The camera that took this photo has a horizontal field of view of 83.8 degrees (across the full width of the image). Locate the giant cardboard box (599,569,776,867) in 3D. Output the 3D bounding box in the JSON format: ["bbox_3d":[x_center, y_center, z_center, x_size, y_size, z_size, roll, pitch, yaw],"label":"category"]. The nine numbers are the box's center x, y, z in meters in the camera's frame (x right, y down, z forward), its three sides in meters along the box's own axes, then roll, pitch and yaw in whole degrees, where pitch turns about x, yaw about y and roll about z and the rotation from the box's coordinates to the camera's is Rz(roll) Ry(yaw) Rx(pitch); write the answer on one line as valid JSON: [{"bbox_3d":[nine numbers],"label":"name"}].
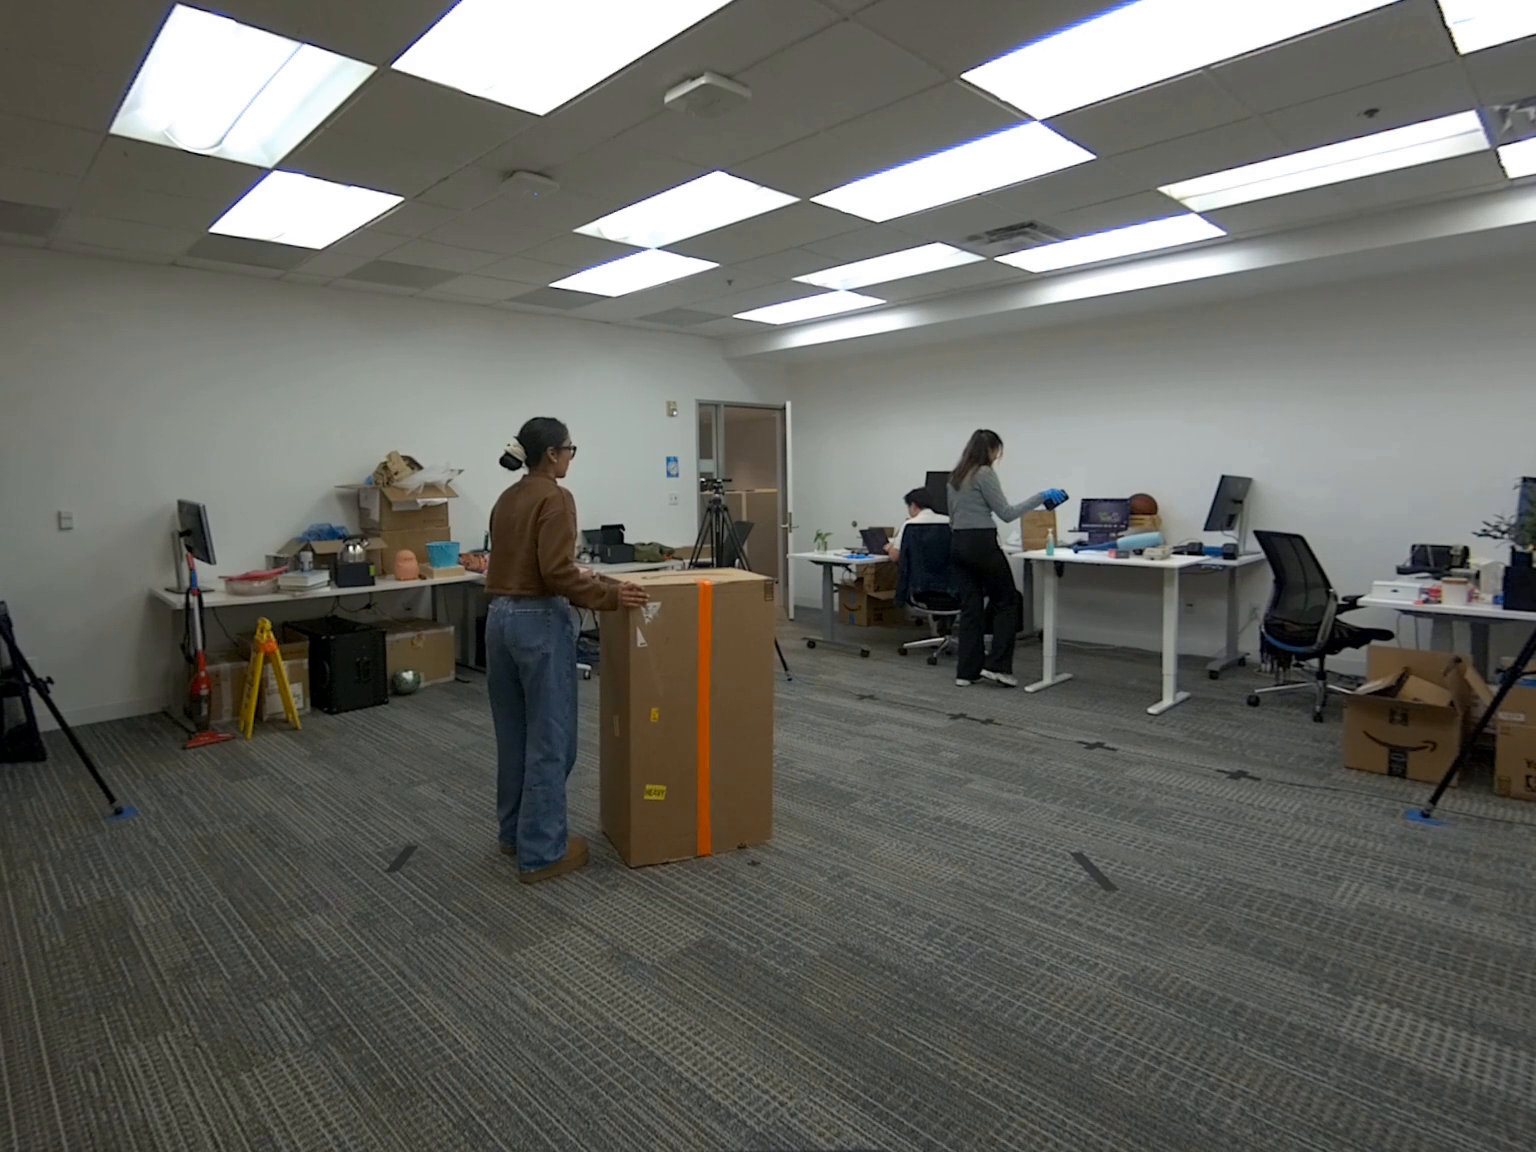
[{"bbox_3d":[-0.321,0.510,3.340,0.565,1.022,0.437,-2,4,-24],"label":"giant cardboard box"}]
